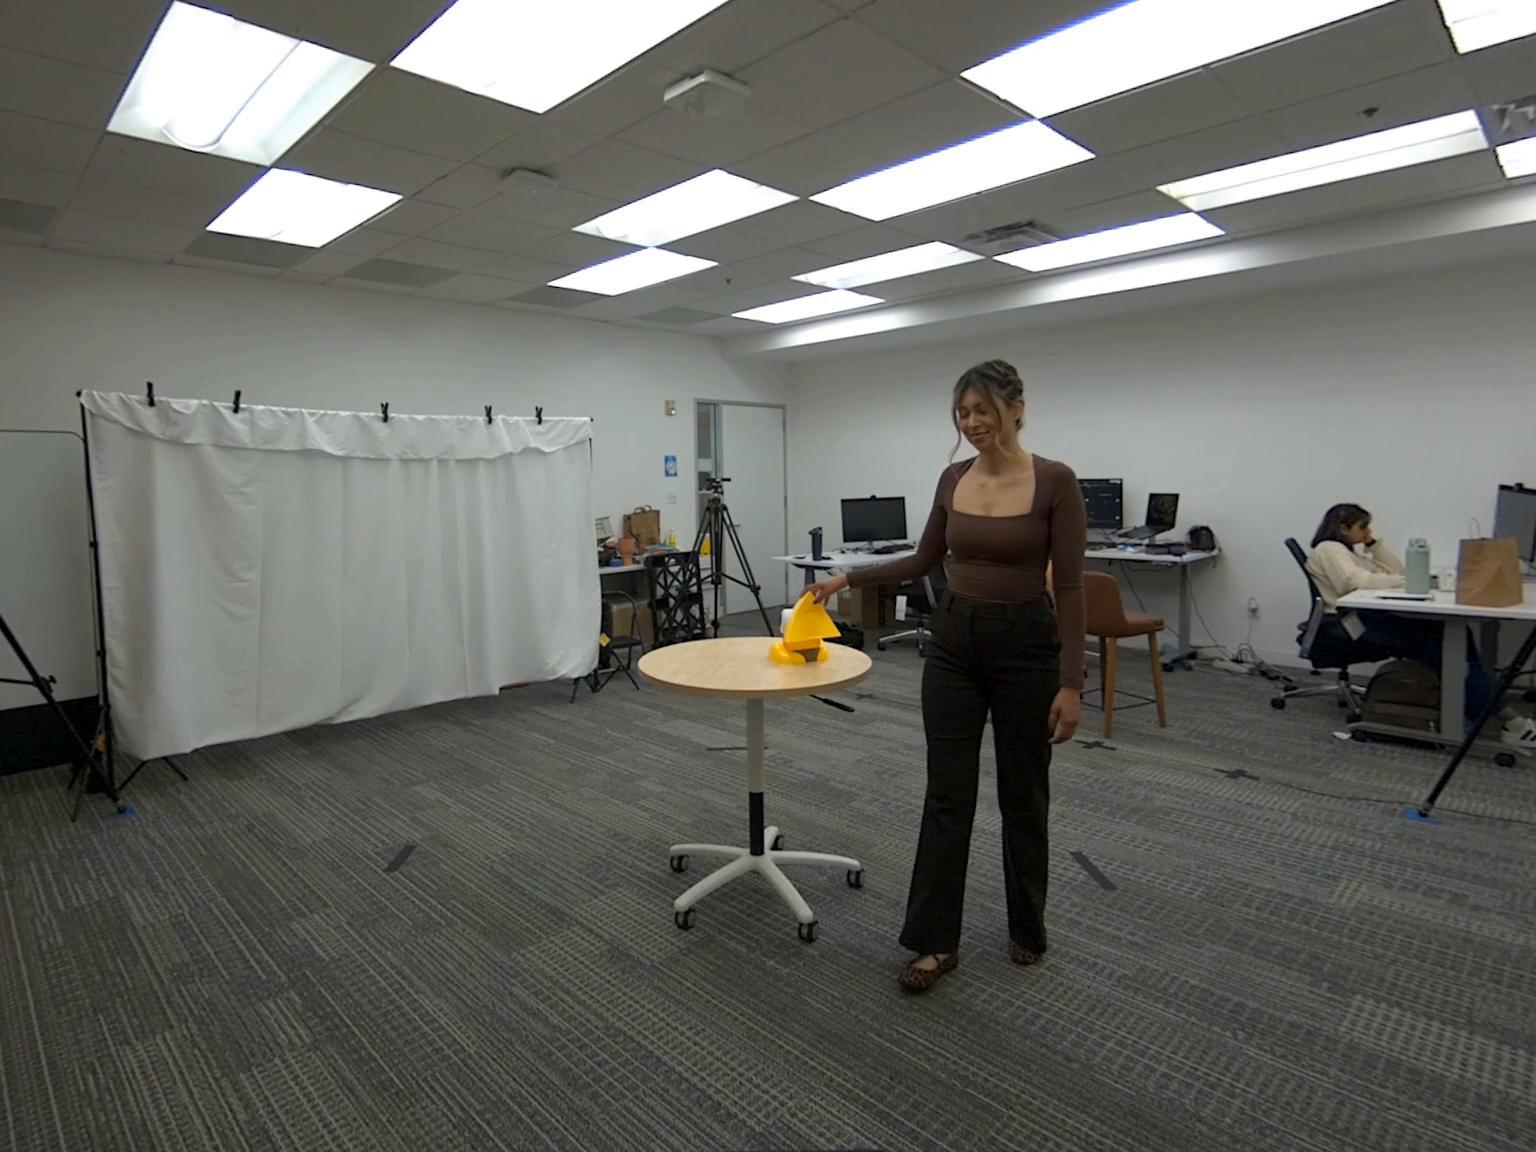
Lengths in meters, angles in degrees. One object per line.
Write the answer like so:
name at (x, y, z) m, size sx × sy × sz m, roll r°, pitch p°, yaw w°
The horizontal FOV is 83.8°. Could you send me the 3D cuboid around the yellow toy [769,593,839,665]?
yellow toy at (0.107, 0.160, 2.835) m, size 0.200 × 0.230 × 0.198 m, roll -4°, pitch 6°, yaw -28°
